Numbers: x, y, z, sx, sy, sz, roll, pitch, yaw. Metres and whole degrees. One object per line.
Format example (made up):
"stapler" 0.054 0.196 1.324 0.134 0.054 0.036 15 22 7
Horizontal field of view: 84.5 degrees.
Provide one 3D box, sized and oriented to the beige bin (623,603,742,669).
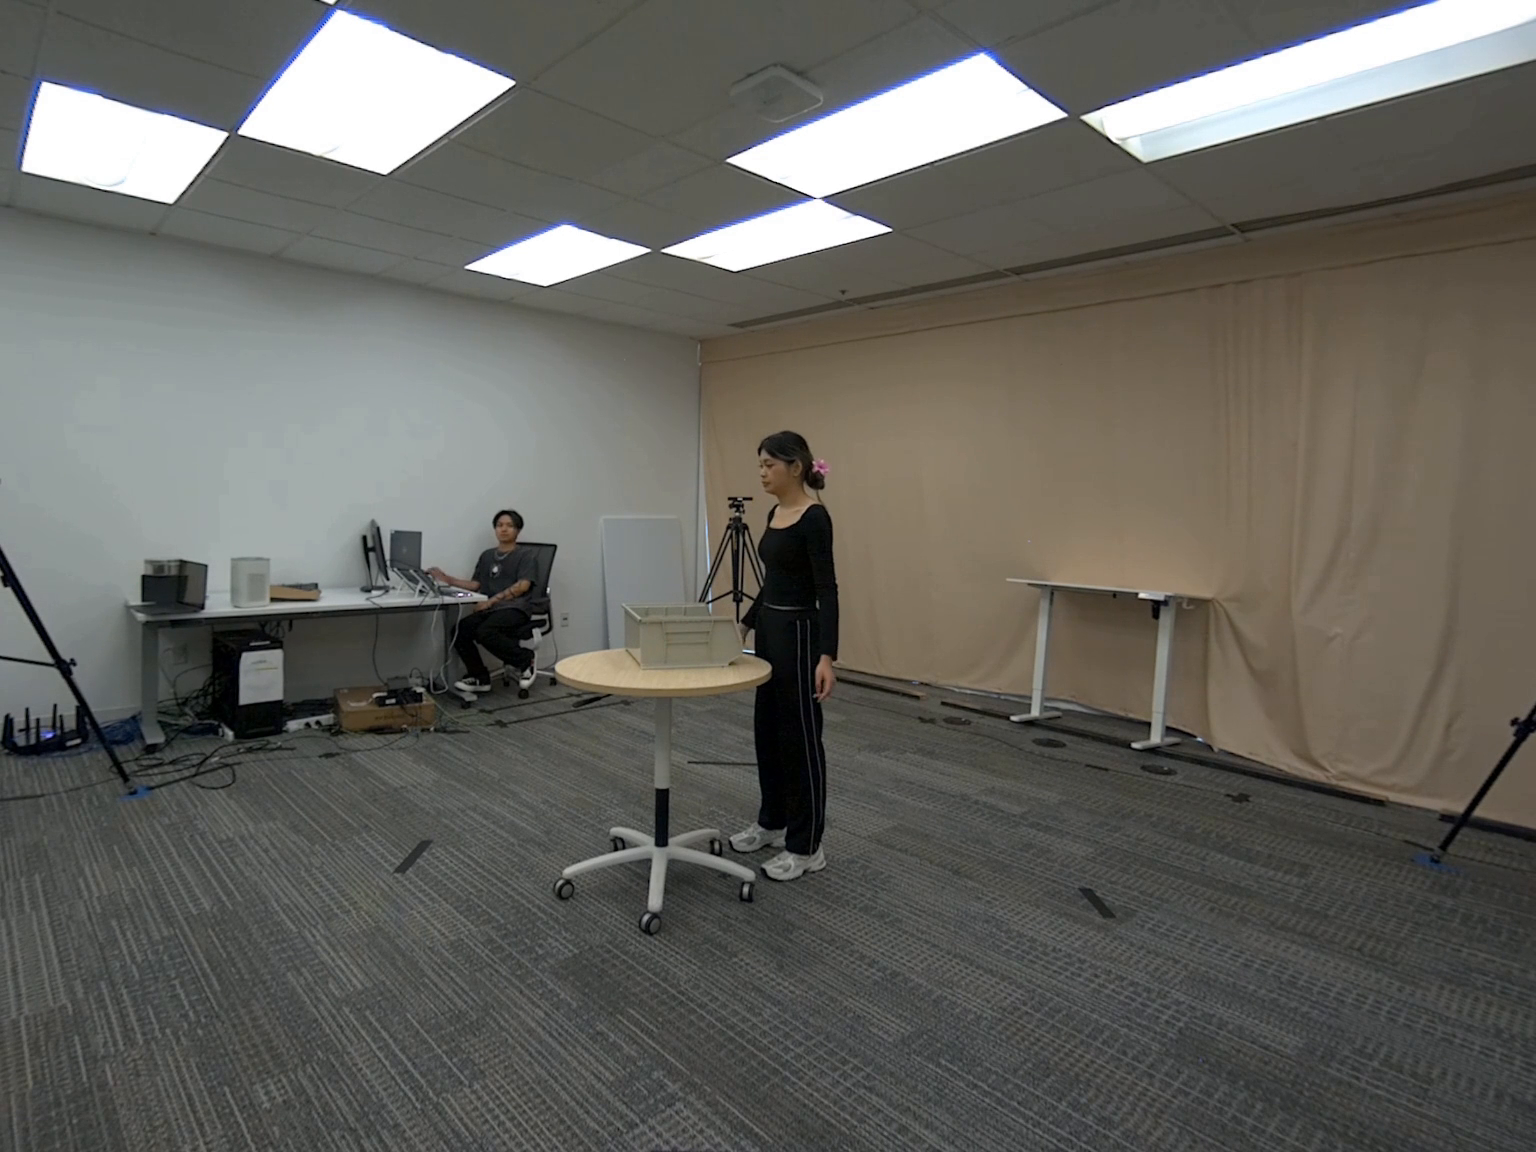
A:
"beige bin" -0.332 0.218 3.149 0.372 0.188 0.429 -1 5 -17
